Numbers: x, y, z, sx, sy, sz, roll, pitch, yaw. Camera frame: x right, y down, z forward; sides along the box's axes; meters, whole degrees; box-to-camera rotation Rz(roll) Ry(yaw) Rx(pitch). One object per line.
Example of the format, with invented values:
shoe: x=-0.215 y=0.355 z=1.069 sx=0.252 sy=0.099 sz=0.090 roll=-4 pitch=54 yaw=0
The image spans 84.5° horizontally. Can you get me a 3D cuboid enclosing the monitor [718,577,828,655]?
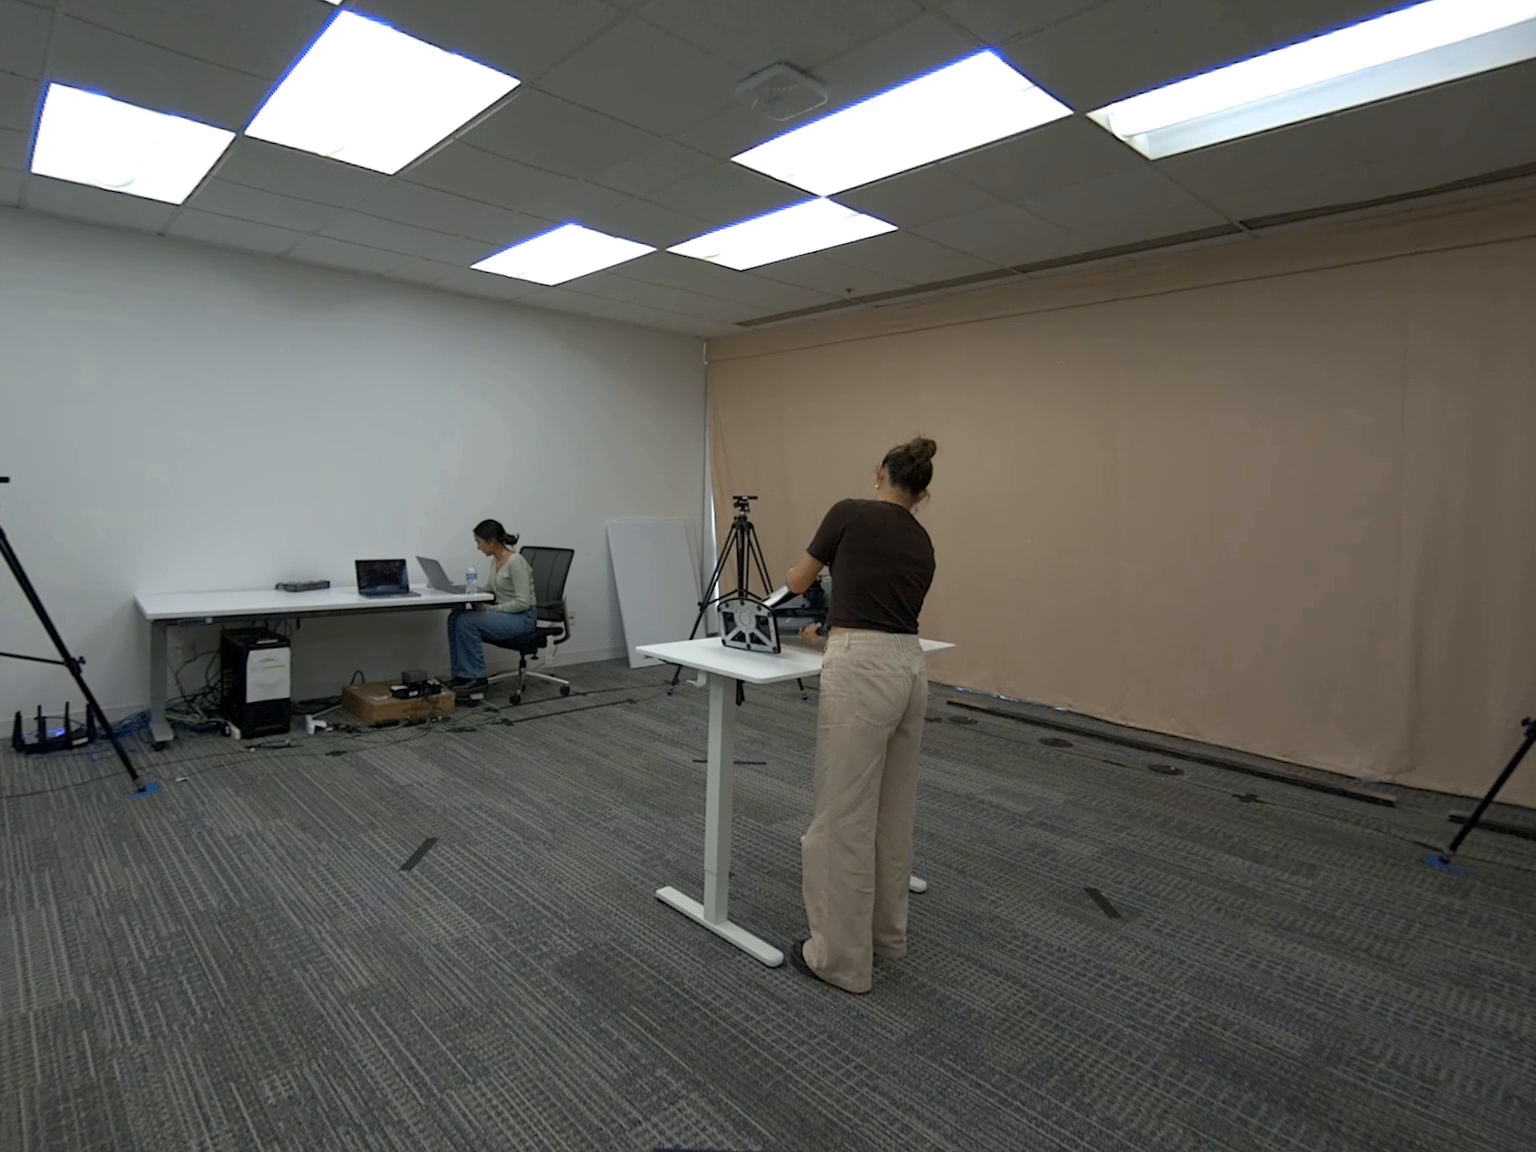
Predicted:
monitor: x=0.089 y=0.099 z=2.929 sx=0.515 sy=0.185 sz=0.551 roll=-23 pitch=15 yaw=-40
